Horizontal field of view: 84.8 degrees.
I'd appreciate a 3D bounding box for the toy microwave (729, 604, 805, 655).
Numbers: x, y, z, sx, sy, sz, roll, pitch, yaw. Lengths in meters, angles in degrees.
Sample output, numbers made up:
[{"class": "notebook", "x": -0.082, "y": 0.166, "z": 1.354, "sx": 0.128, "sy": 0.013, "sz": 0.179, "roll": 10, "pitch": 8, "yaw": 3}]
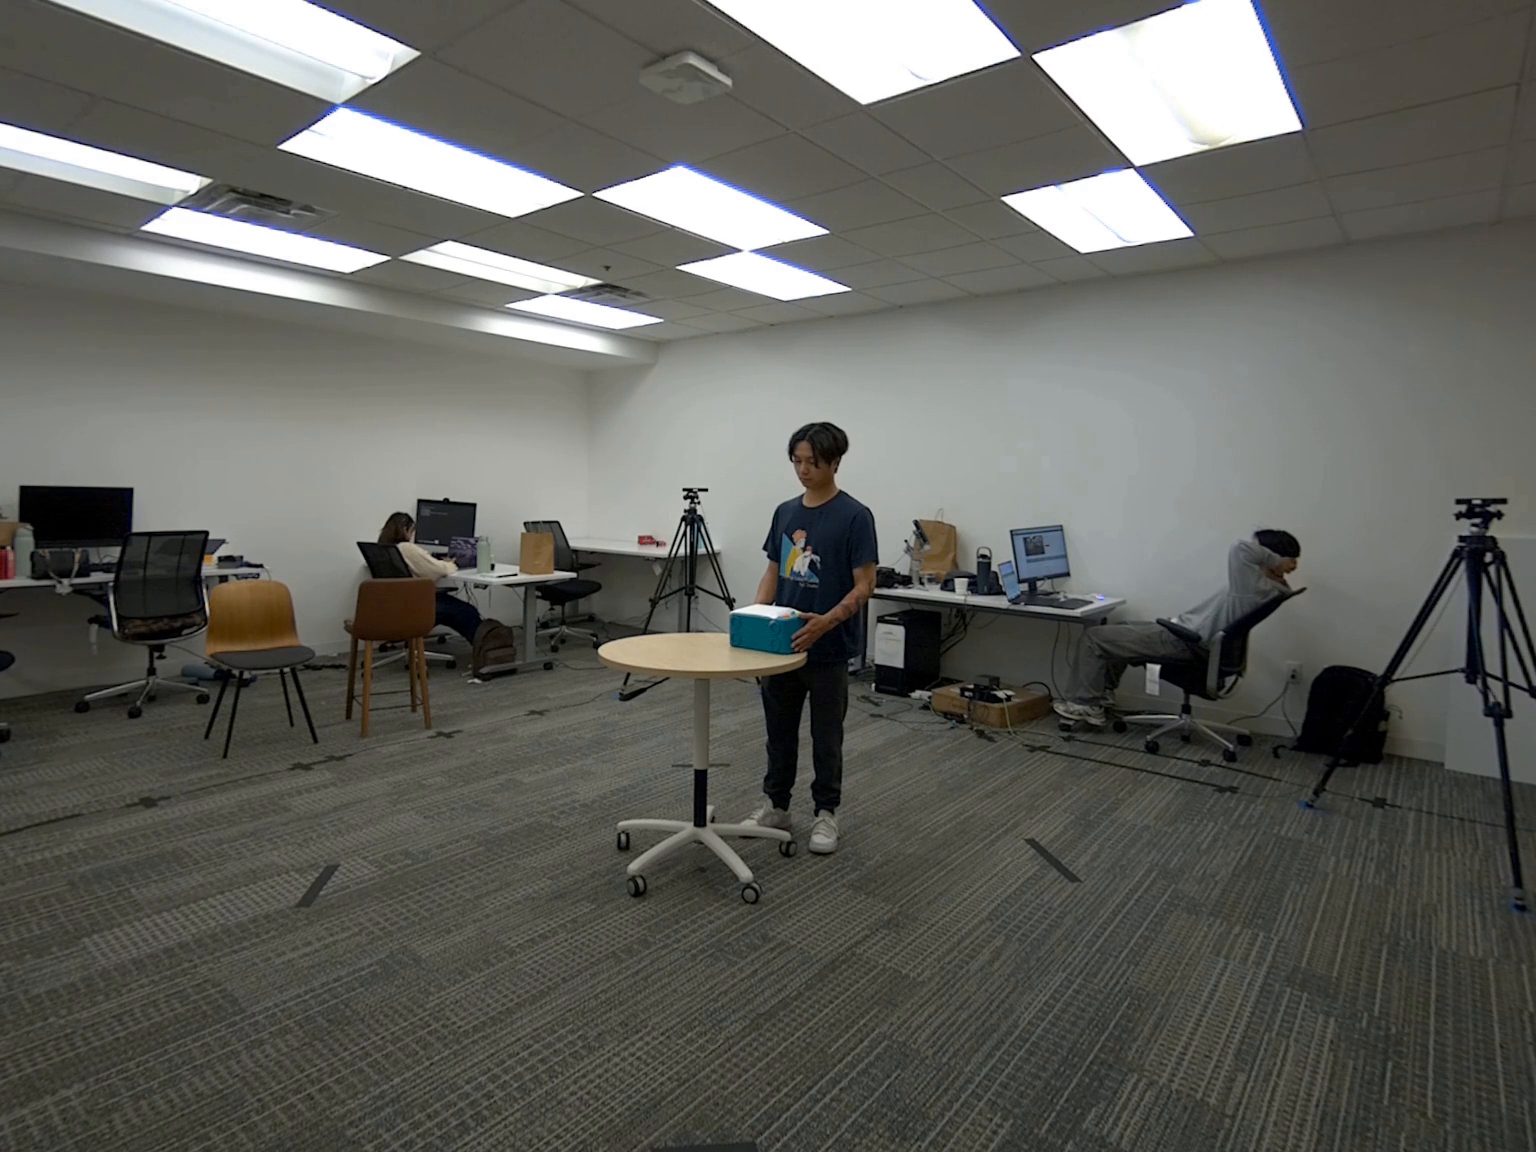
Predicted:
[{"class": "toy microwave", "x": -0.004, "y": 0.190, "z": 3.186, "sx": 0.296, "sy": 0.152, "sz": 0.179, "roll": 3, "pitch": 7, "yaw": 41}]
